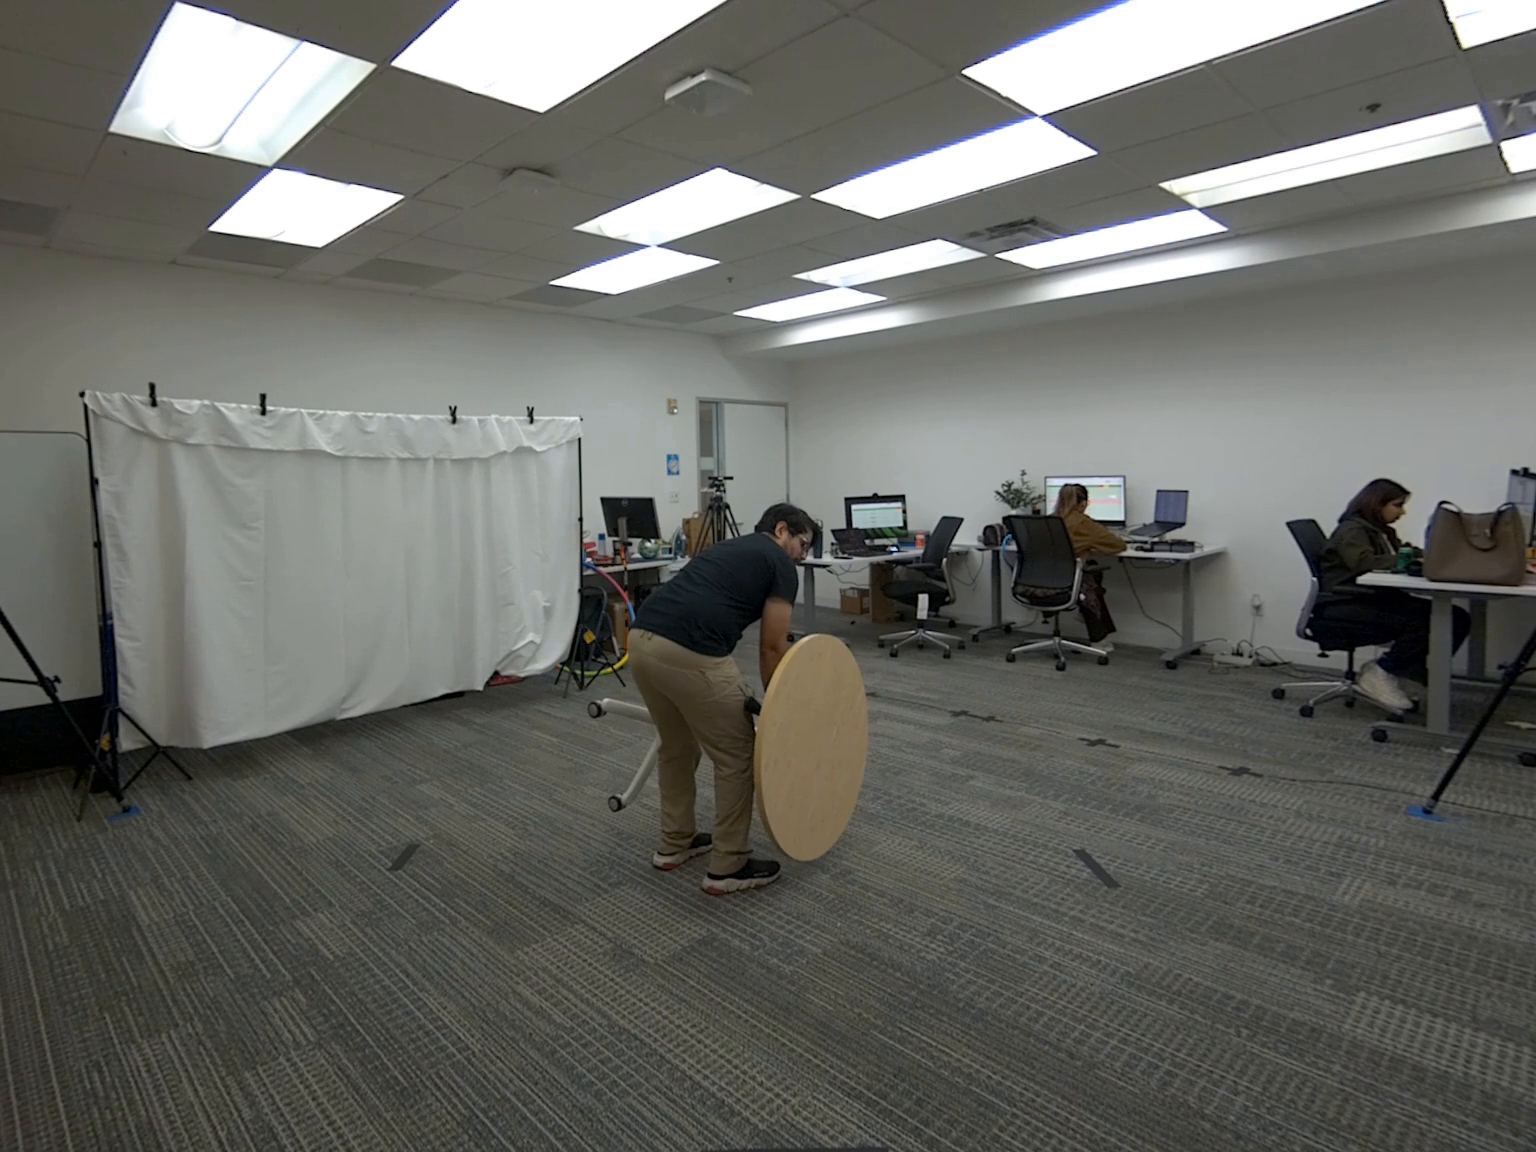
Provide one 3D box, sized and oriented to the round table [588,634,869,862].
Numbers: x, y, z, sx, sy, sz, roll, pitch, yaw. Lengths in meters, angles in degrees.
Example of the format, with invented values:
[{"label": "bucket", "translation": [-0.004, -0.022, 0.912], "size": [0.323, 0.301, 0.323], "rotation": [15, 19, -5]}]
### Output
[{"label": "round table", "translation": [-0.150, 0.577, 3.202], "size": [0.808, 0.782, 0.766], "rotation": [1, 5, 34]}]
